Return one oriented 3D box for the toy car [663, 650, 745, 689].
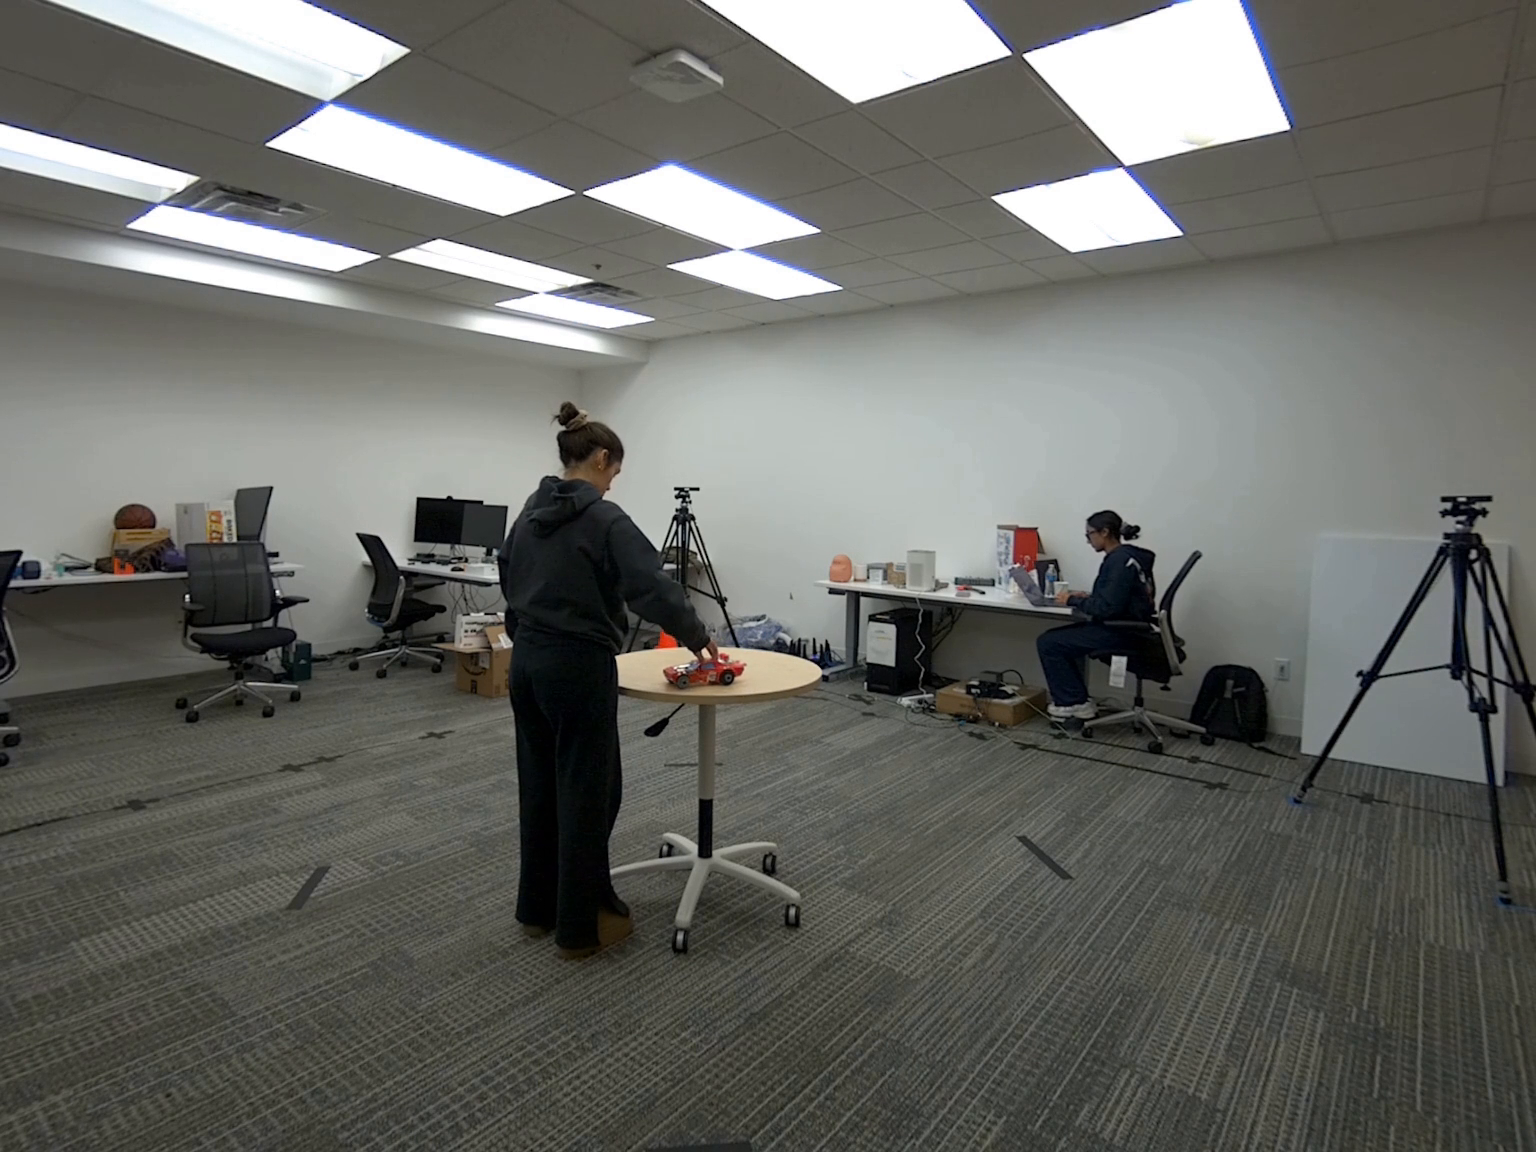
[{"bbox_3d":[-0.194,0.303,2.634,0.250,0.082,0.134,-14,10,-21],"label":"toy car"}]
